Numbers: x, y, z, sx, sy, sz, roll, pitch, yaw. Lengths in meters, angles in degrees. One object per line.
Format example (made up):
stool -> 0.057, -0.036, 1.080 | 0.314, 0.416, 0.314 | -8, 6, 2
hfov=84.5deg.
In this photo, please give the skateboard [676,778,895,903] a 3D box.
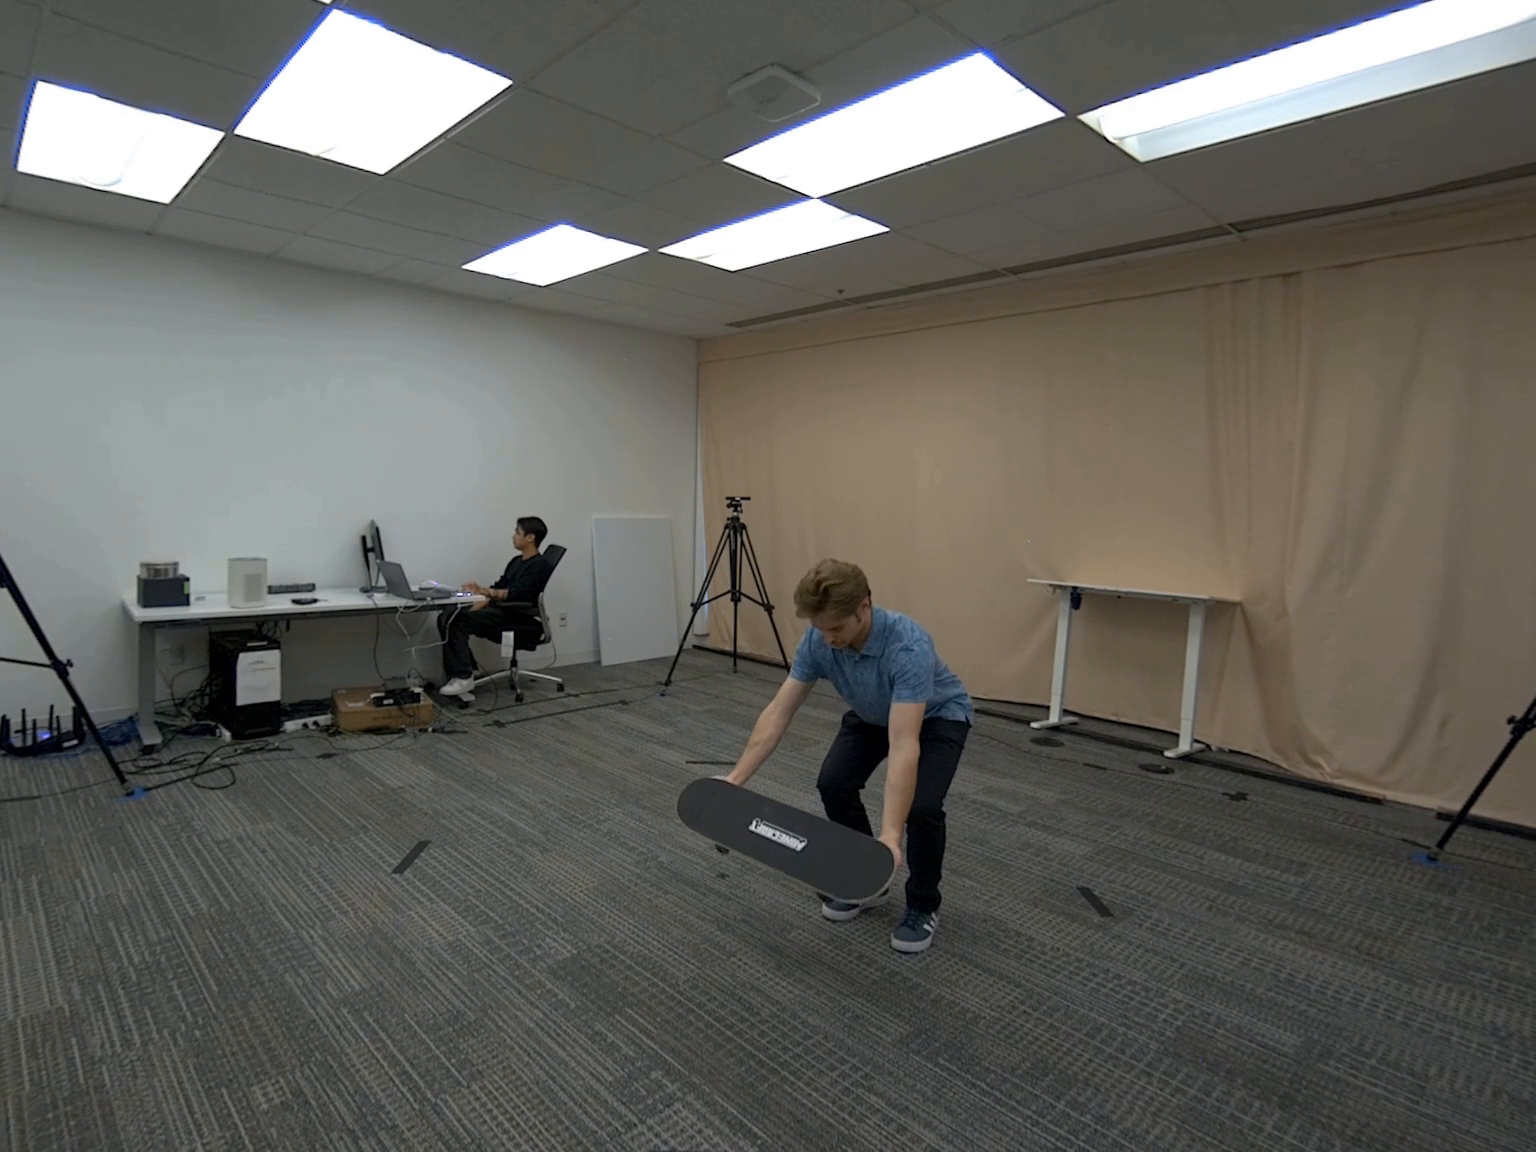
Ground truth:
skateboard -> 0.033, 0.759, 2.431 | 0.806, 0.107, 0.193 | 8, 47, 43
